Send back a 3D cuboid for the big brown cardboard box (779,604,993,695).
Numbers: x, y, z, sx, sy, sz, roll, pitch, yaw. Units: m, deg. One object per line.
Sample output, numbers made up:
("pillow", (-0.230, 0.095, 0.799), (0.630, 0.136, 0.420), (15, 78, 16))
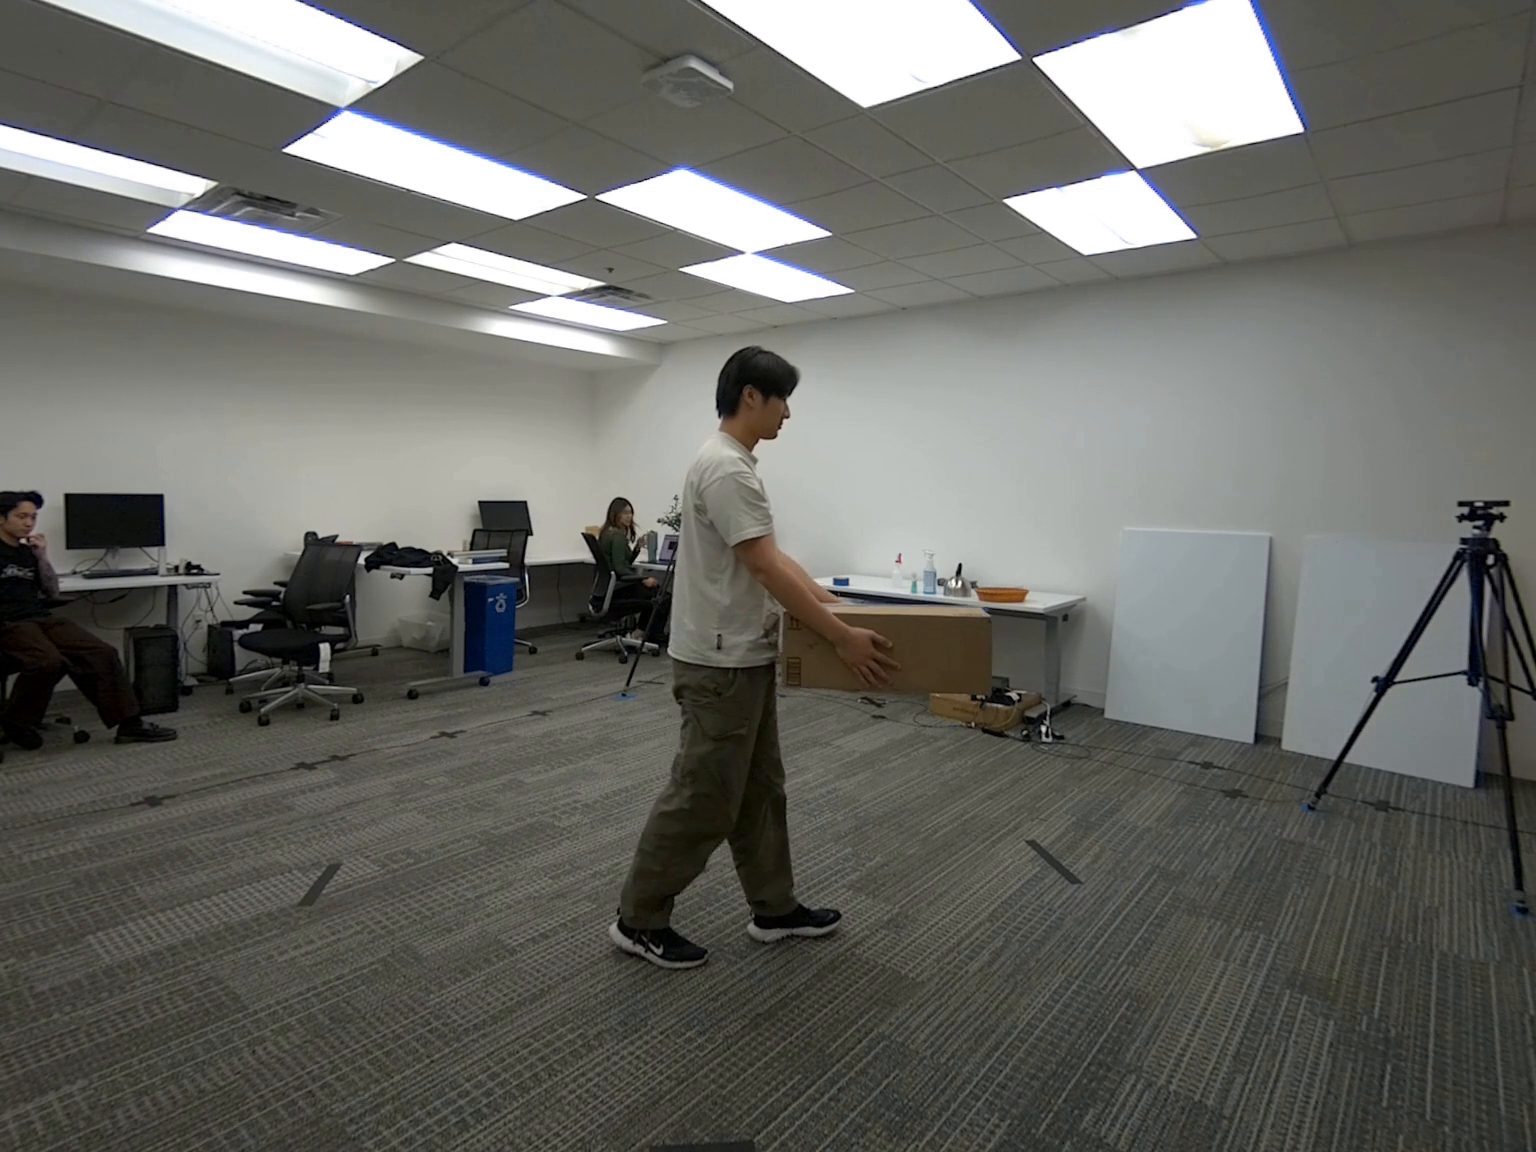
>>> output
("big brown cardboard box", (0.334, 0.195, 2.525), (0.593, 0.233, 0.415), (0, 2, 6))
